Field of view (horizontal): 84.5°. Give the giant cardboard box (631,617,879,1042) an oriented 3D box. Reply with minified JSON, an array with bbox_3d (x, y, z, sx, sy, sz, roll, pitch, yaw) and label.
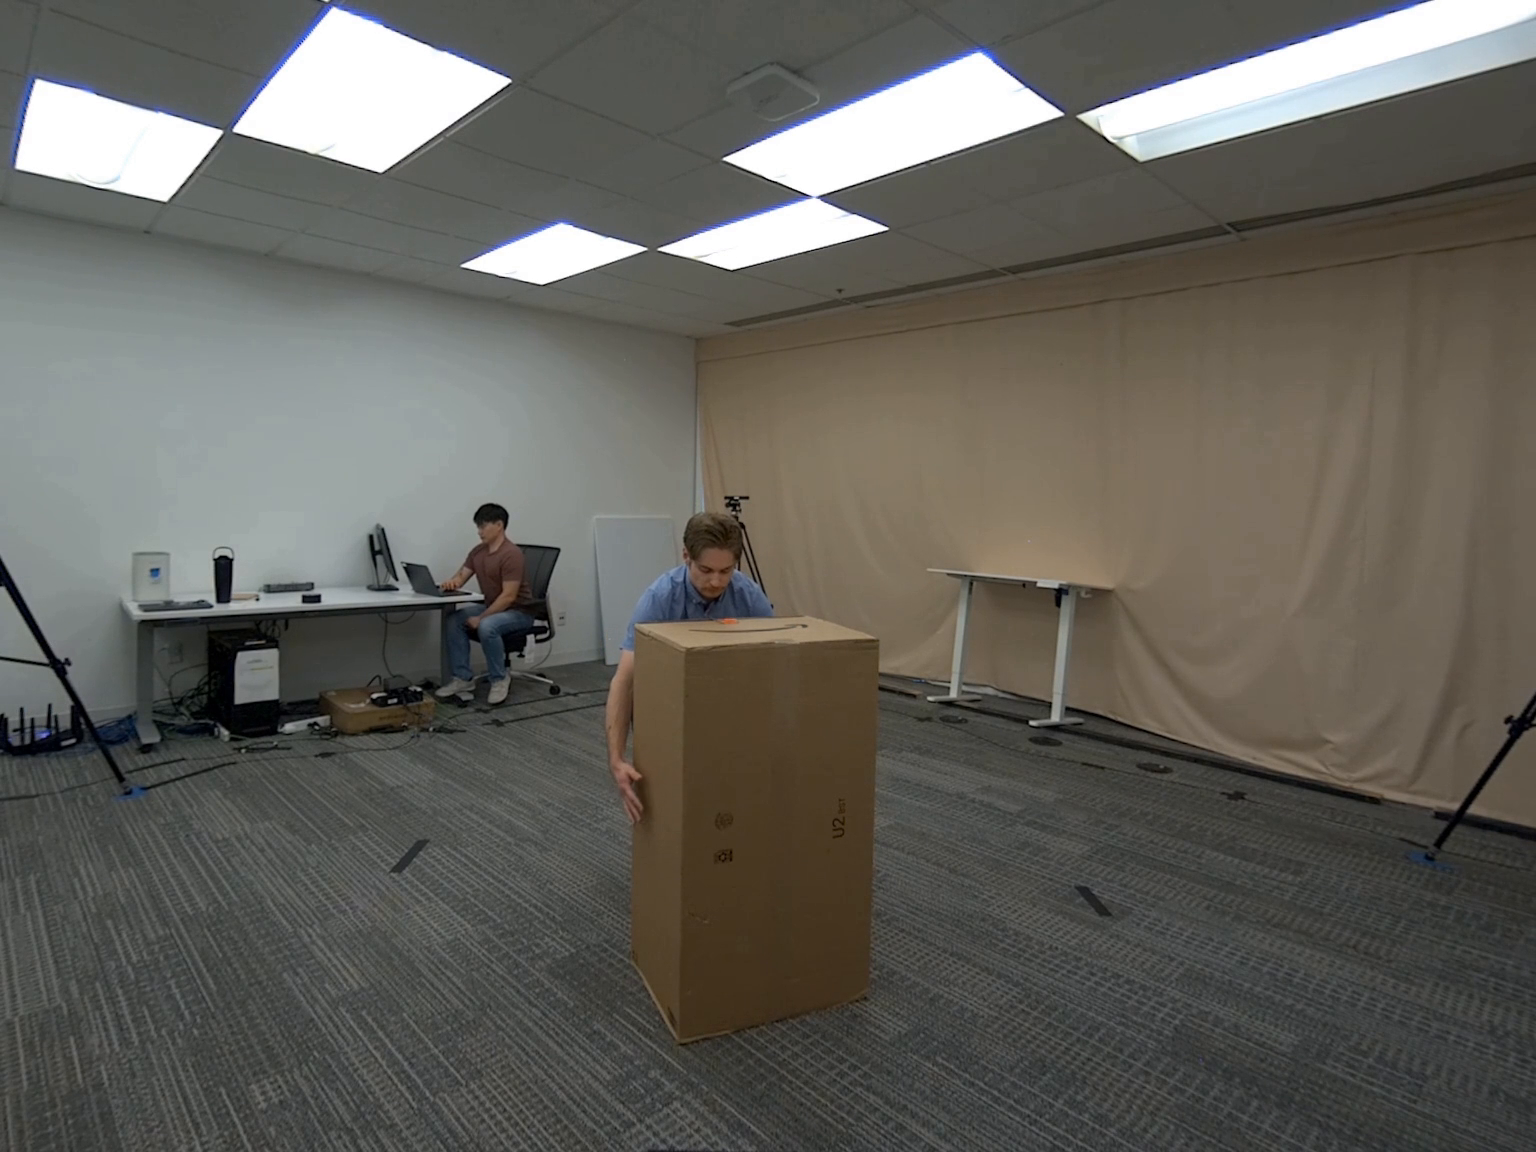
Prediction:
[{"bbox_3d":[-0.055,0.662,2.409,0.567,1.023,0.435,0,4,-25],"label":"giant cardboard box"}]
